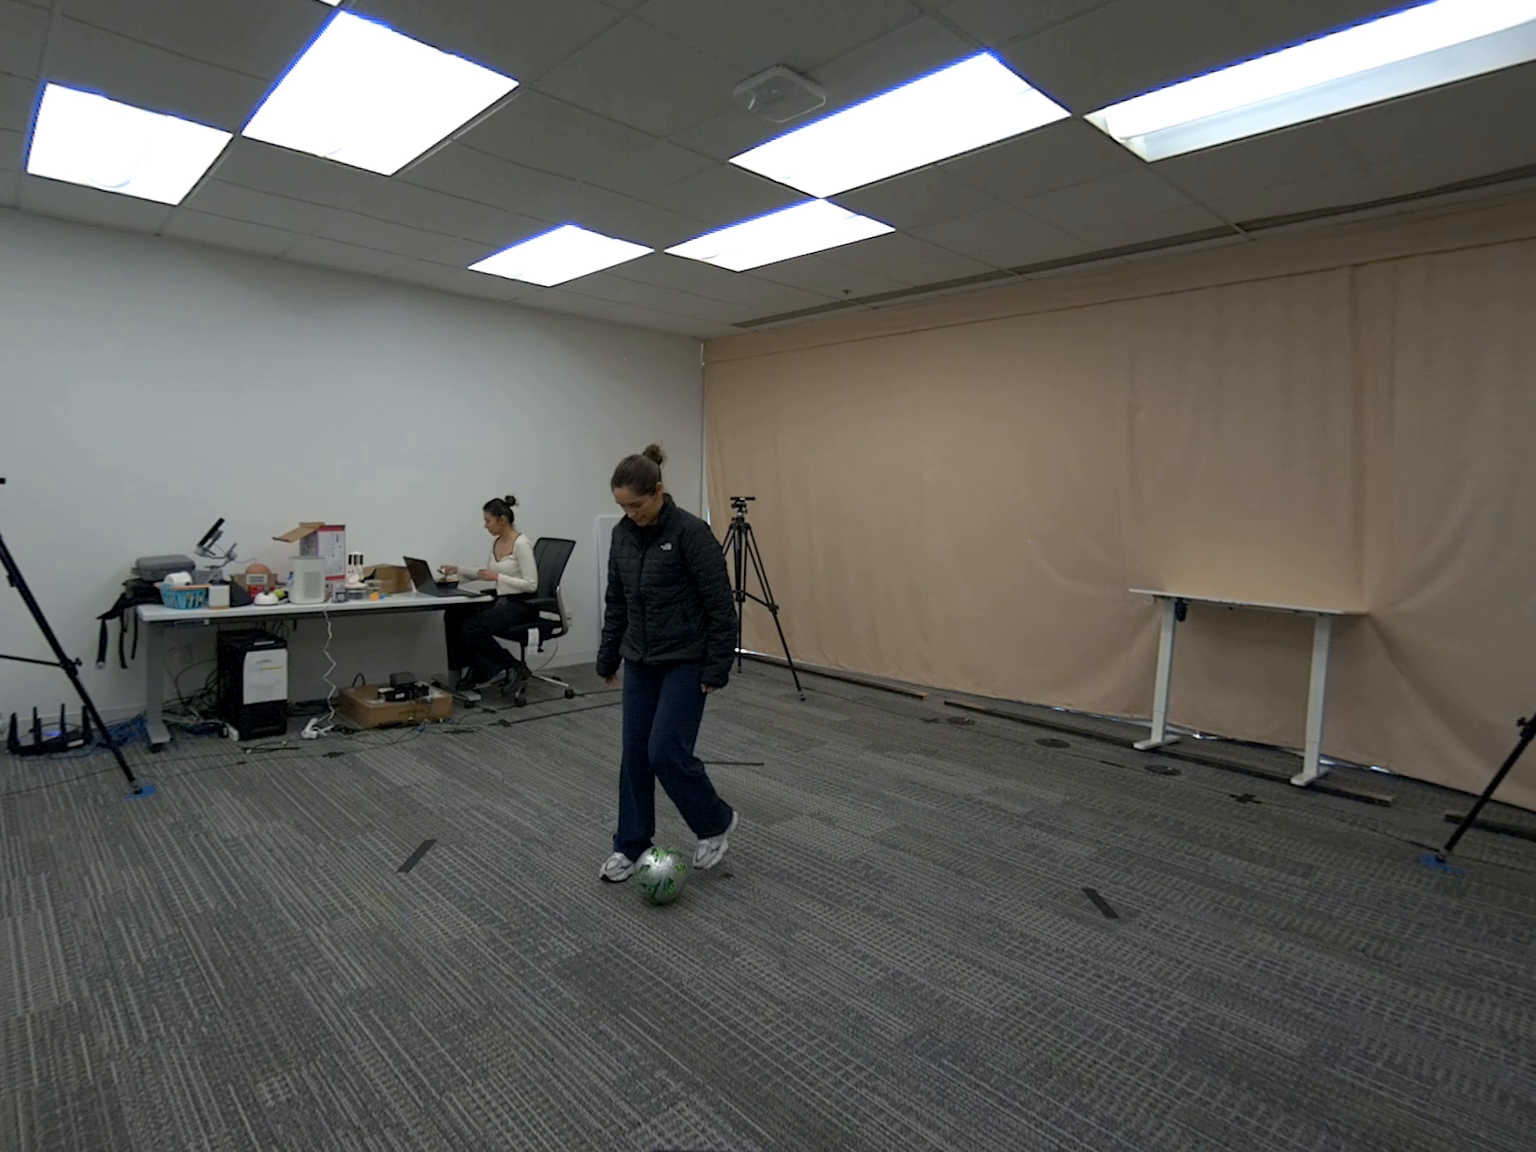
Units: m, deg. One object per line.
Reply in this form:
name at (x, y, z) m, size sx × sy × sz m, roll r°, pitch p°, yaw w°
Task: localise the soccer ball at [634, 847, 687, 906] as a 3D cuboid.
soccer ball at (-0.375, 1.027, 2.896) m, size 0.187 × 0.187 × 0.188 m, roll 1°, pitch 4°, yaw -1°
